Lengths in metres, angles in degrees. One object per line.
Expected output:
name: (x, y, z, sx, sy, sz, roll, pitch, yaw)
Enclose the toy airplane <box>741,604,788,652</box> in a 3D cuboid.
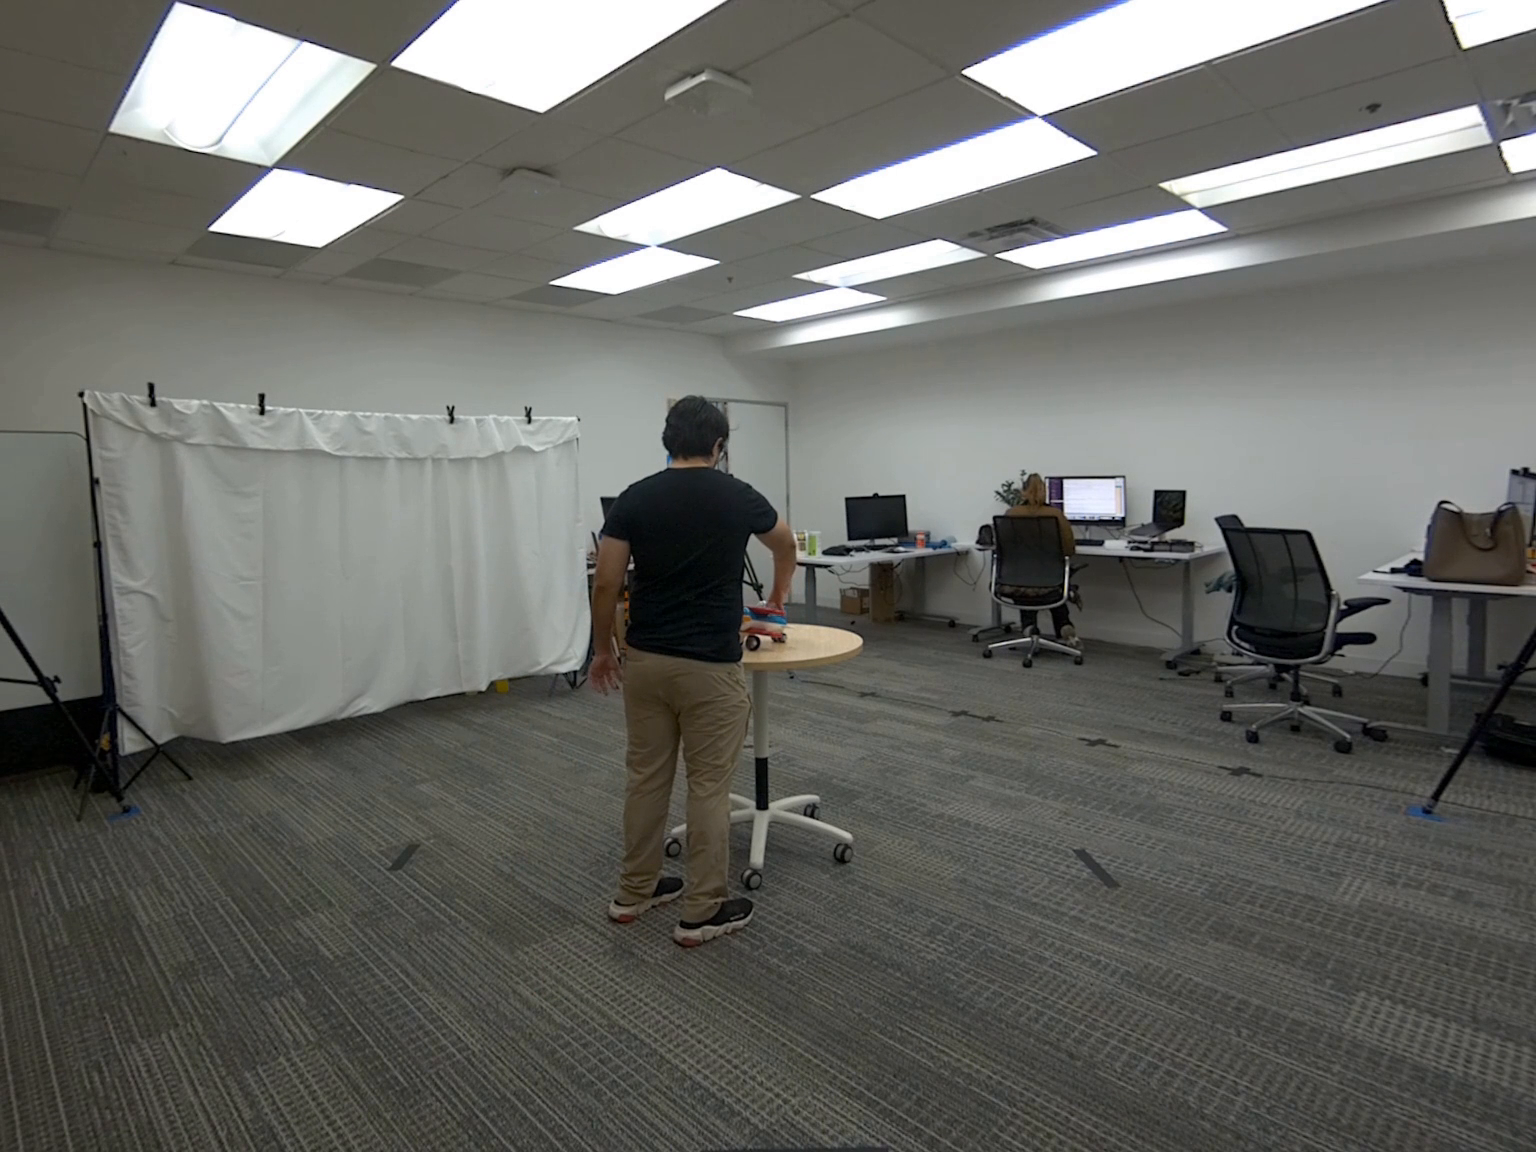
toy airplane: (-0.045, 0.177, 3.121, 0.256, 0.156, 0.256, -1, 7, 20)
